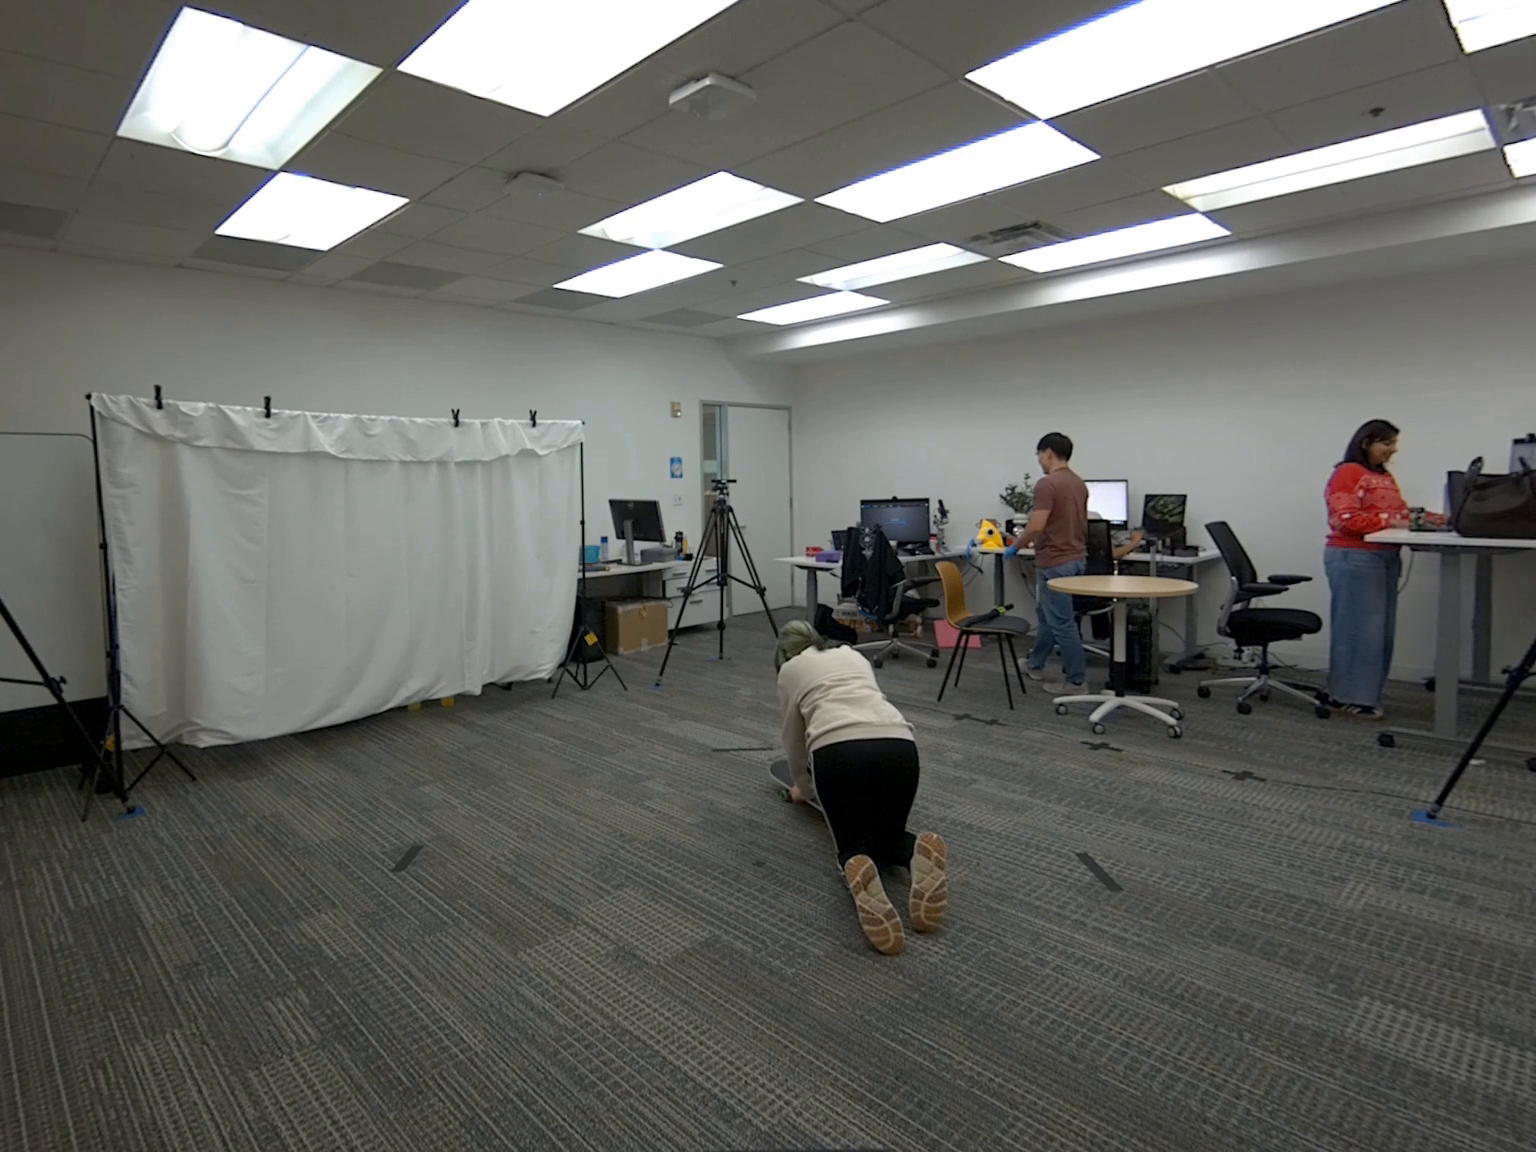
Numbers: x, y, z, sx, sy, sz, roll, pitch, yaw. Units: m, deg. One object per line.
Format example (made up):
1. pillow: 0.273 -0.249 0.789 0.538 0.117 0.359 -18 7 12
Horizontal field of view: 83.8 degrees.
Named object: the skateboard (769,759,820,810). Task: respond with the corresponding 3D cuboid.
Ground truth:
1. skateboard: 0.242 0.938 3.560 0.189 0.110 0.805 -5 7 -25
